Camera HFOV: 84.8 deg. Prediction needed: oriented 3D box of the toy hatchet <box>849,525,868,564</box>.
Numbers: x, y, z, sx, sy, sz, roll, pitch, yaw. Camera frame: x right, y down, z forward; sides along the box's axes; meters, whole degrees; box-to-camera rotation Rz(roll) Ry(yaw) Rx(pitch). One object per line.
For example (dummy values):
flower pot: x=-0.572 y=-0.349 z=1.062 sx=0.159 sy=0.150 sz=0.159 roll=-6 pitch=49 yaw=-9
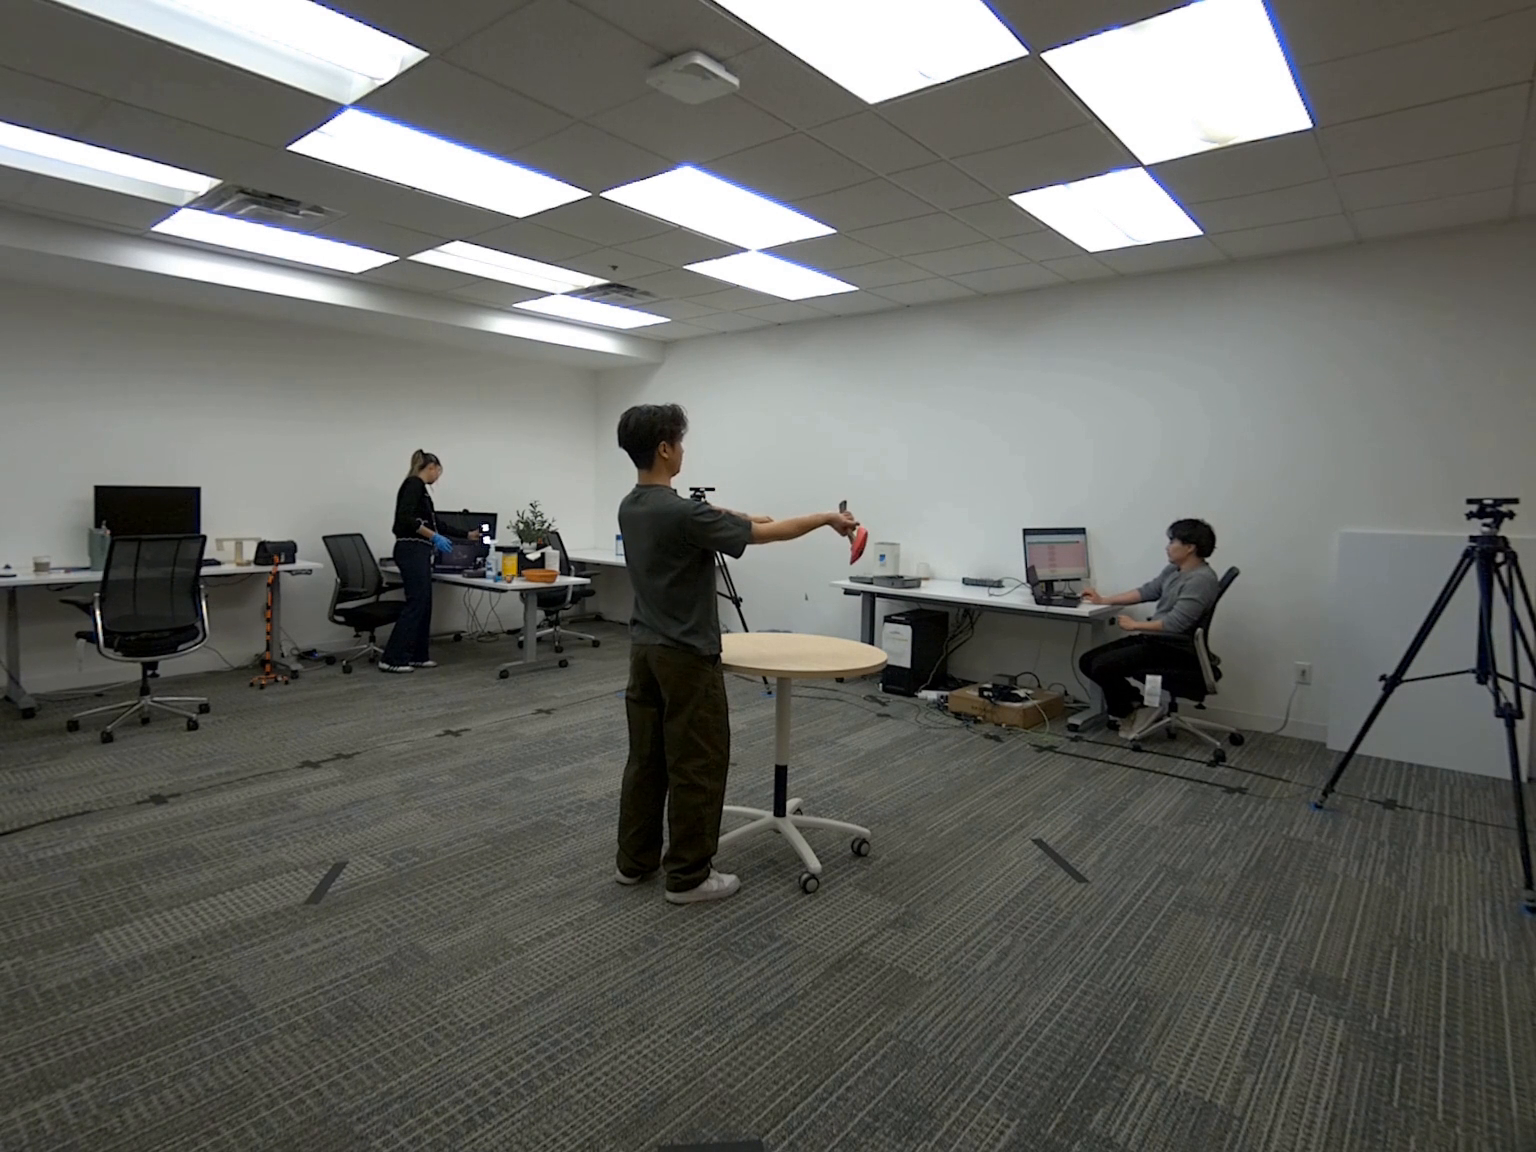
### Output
toy hatchet: x=0.282 y=-0.202 z=2.846 sx=0.029 sy=0.129 sz=0.279 roll=7 pitch=46 yaw=-17
